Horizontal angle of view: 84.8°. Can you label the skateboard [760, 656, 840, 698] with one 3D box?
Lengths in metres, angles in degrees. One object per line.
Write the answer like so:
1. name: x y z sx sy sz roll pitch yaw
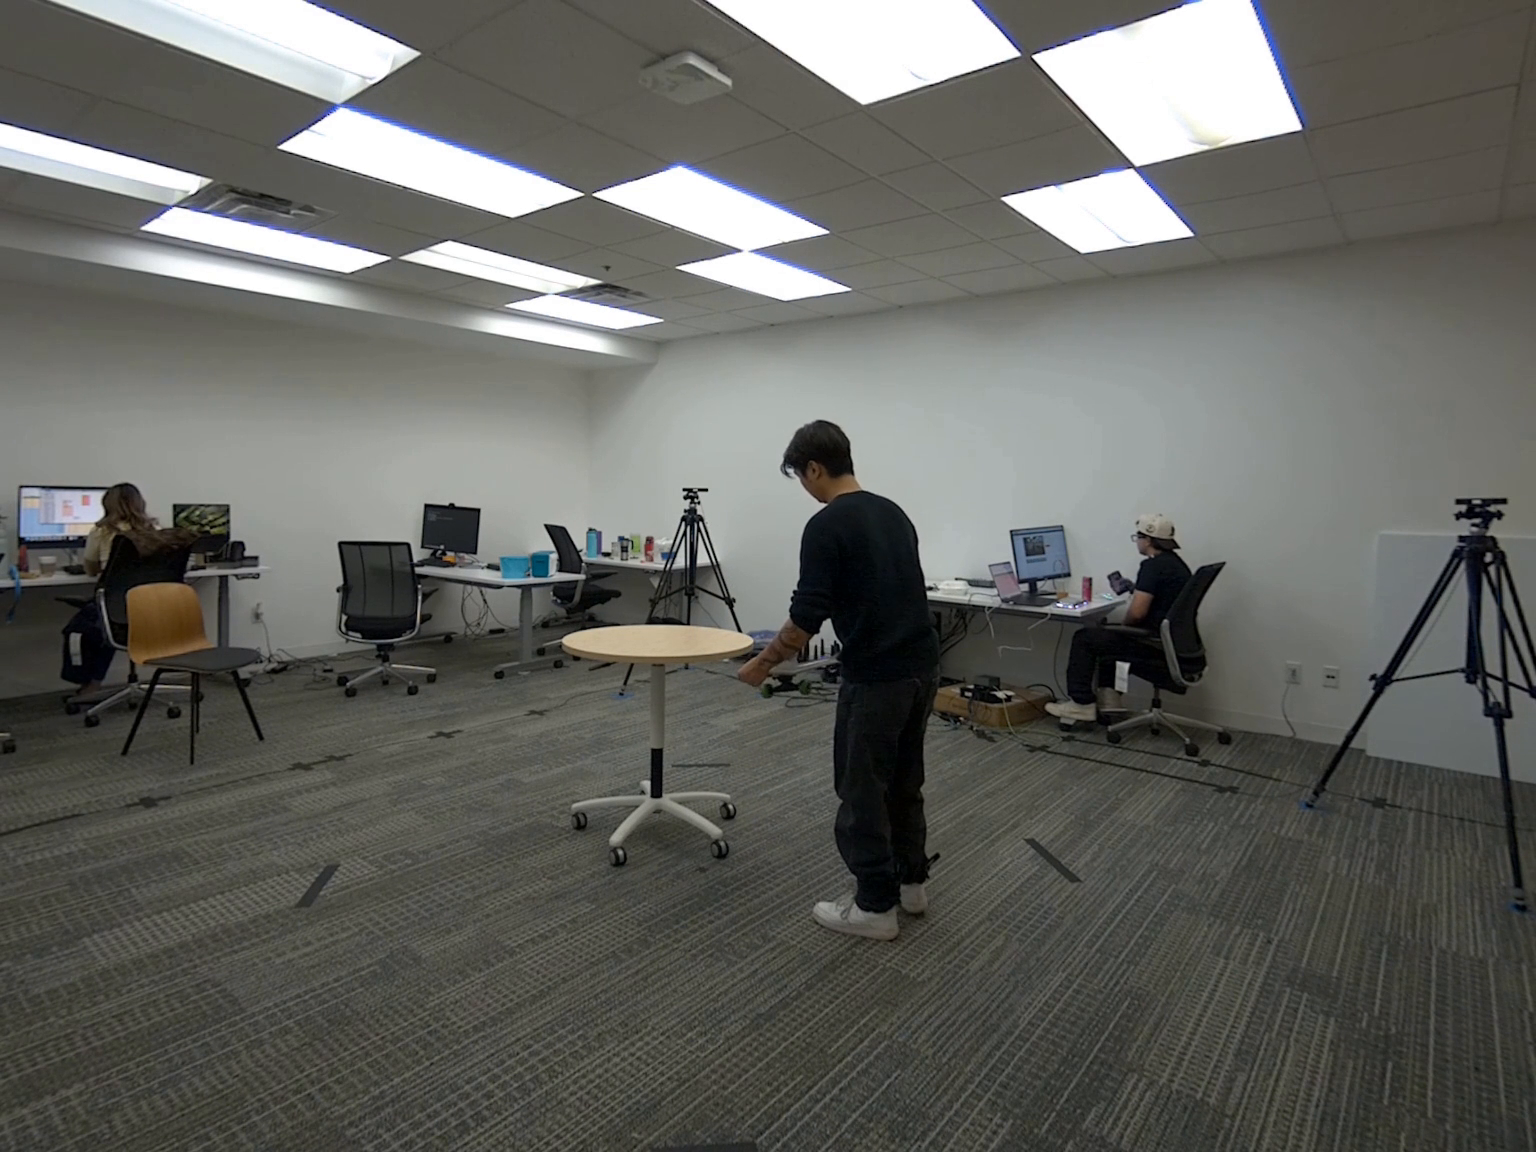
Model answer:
1. skateboard: 0.160 0.346 3.030 0.198 0.111 0.763 -13 -4 35
